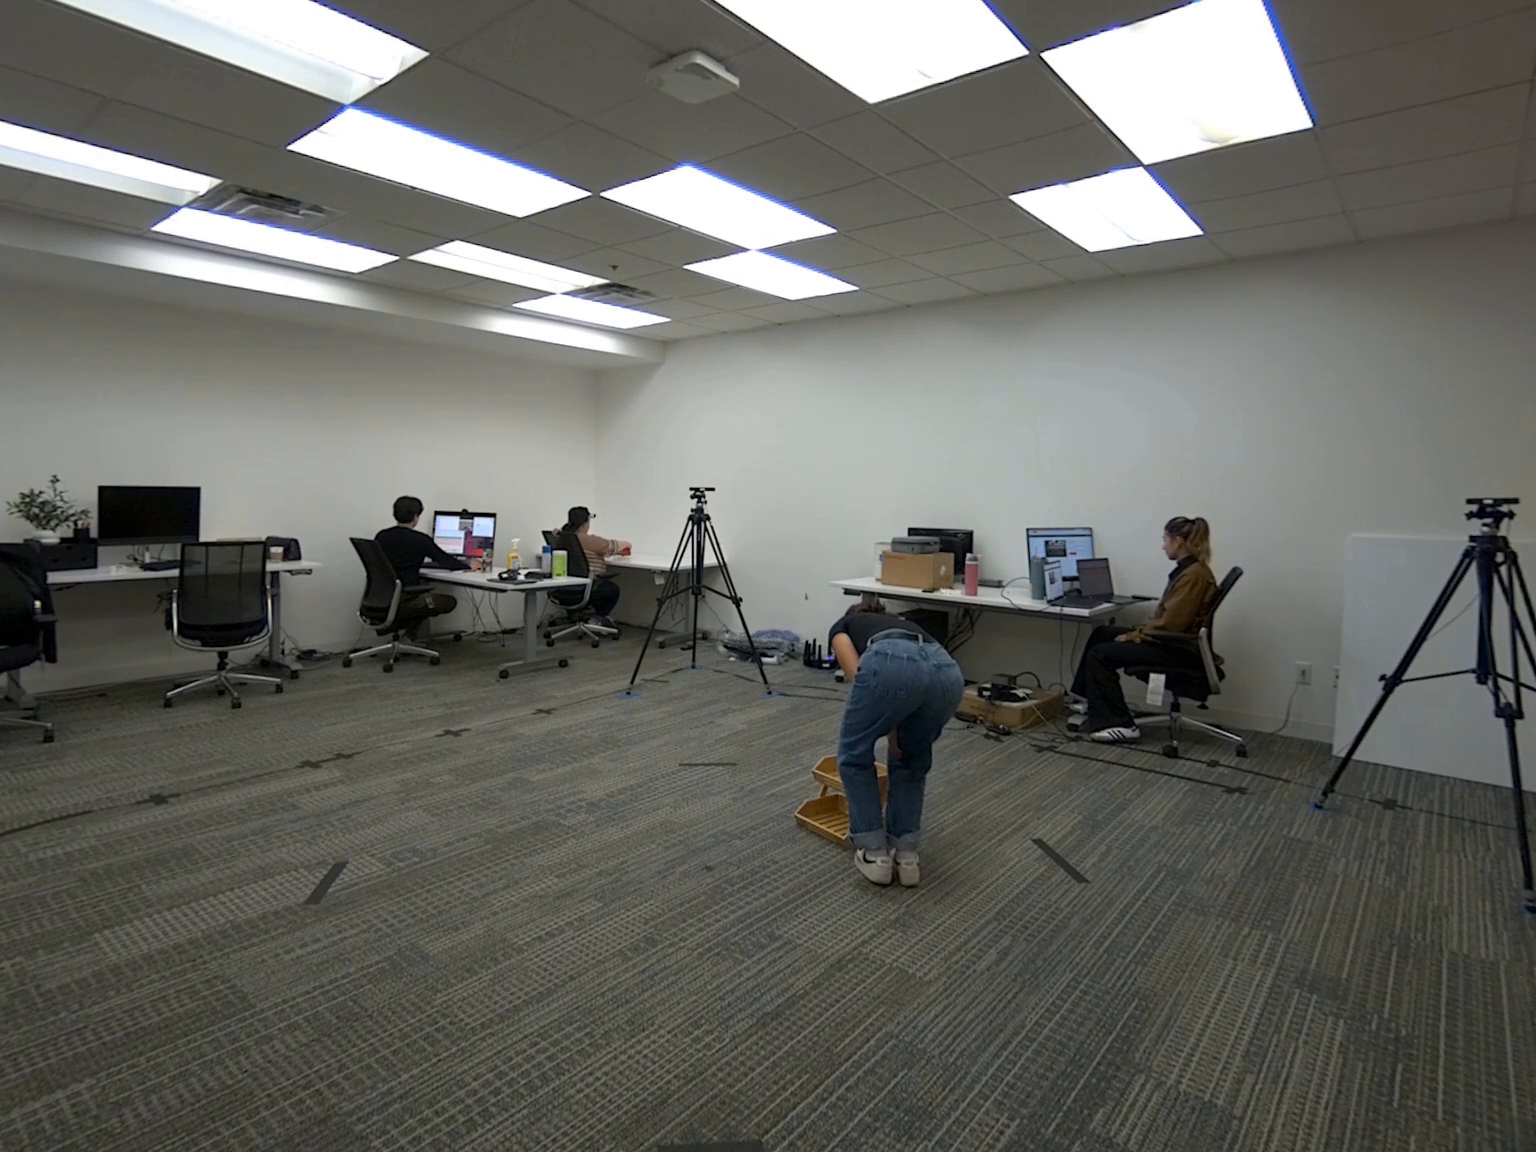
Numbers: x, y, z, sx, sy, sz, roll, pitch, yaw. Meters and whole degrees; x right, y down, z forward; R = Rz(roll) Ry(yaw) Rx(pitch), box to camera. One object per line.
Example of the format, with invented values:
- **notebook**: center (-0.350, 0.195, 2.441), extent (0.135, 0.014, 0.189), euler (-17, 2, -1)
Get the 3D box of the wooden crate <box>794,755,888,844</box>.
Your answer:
- **wooden crate**: center (0.312, 0.905, 3.491), extent (0.293, 0.272, 0.335), euler (-1, 5, -38)
